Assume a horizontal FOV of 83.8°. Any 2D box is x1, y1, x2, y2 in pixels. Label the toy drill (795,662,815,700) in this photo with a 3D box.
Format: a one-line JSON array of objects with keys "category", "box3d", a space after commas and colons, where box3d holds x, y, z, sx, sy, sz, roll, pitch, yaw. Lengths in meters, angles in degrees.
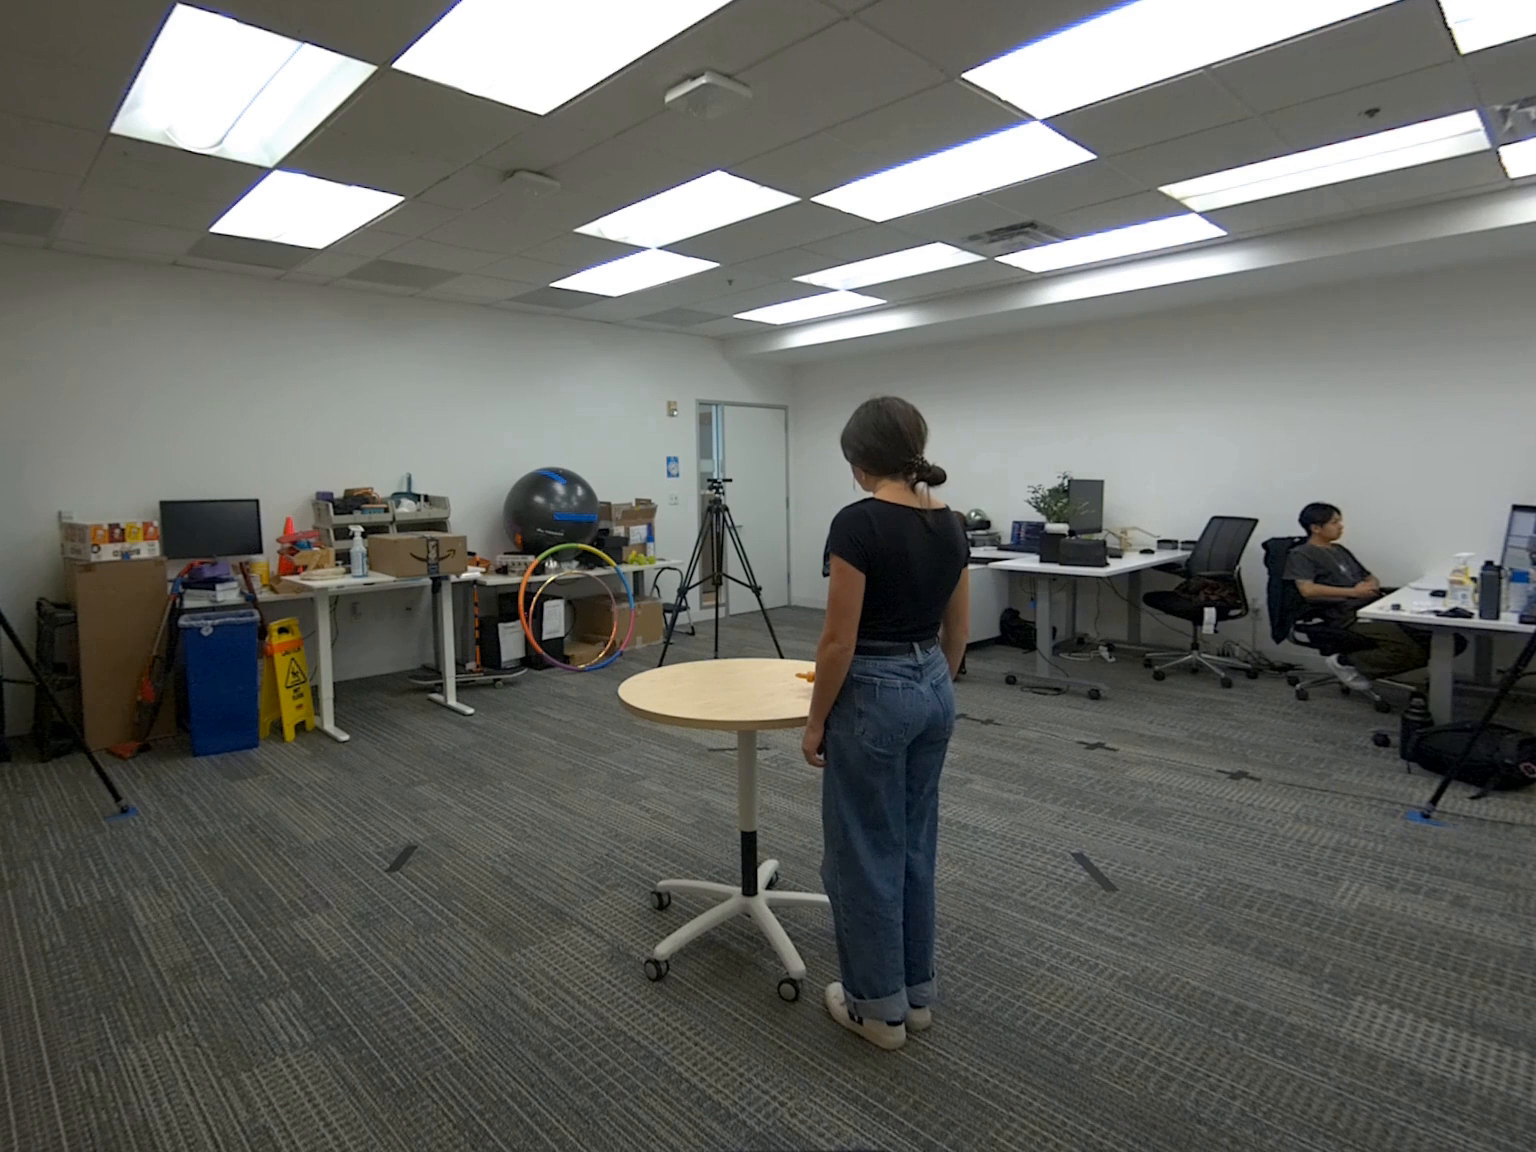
[{"category": "toy drill", "box3d": [0.175, 0.305, 2.435, 0.172, 0.061, 0.145, 7, 8, 12]}]
